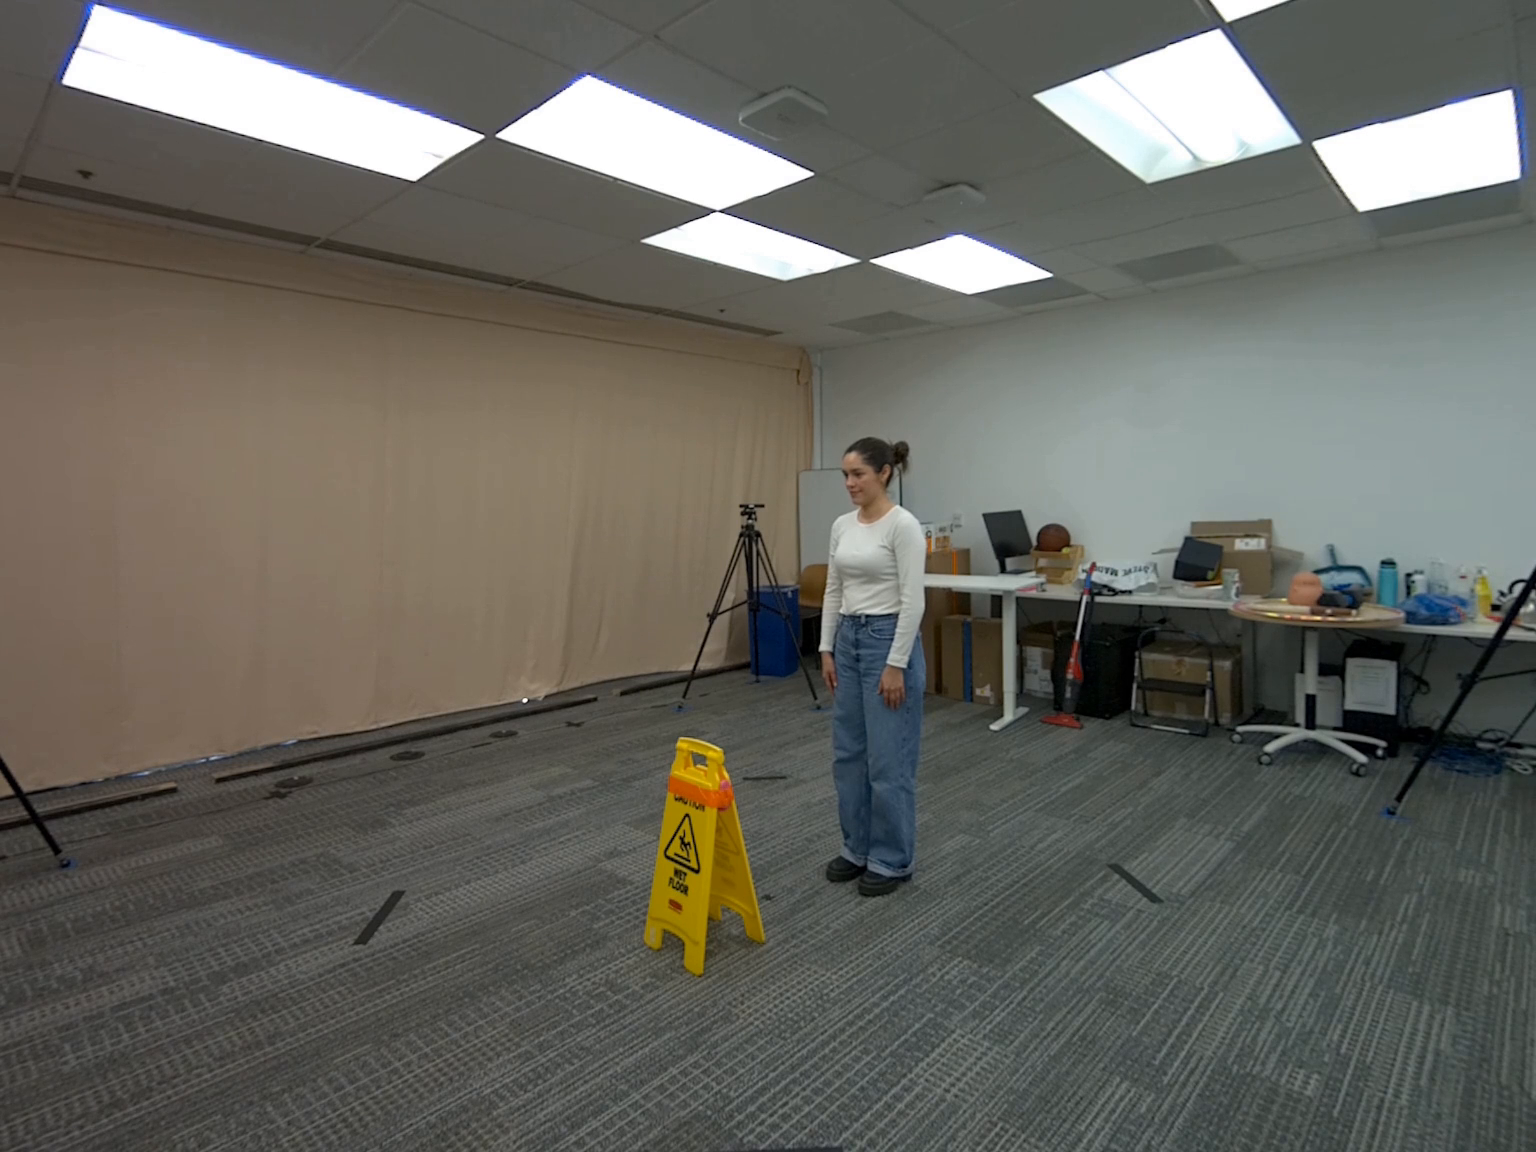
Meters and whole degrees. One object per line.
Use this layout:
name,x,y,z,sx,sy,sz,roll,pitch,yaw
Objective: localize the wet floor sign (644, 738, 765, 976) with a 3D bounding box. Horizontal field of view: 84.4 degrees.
wet floor sign,-0.203,0.844,2.667,0.281,0.645,0.291,-3,4,-44
